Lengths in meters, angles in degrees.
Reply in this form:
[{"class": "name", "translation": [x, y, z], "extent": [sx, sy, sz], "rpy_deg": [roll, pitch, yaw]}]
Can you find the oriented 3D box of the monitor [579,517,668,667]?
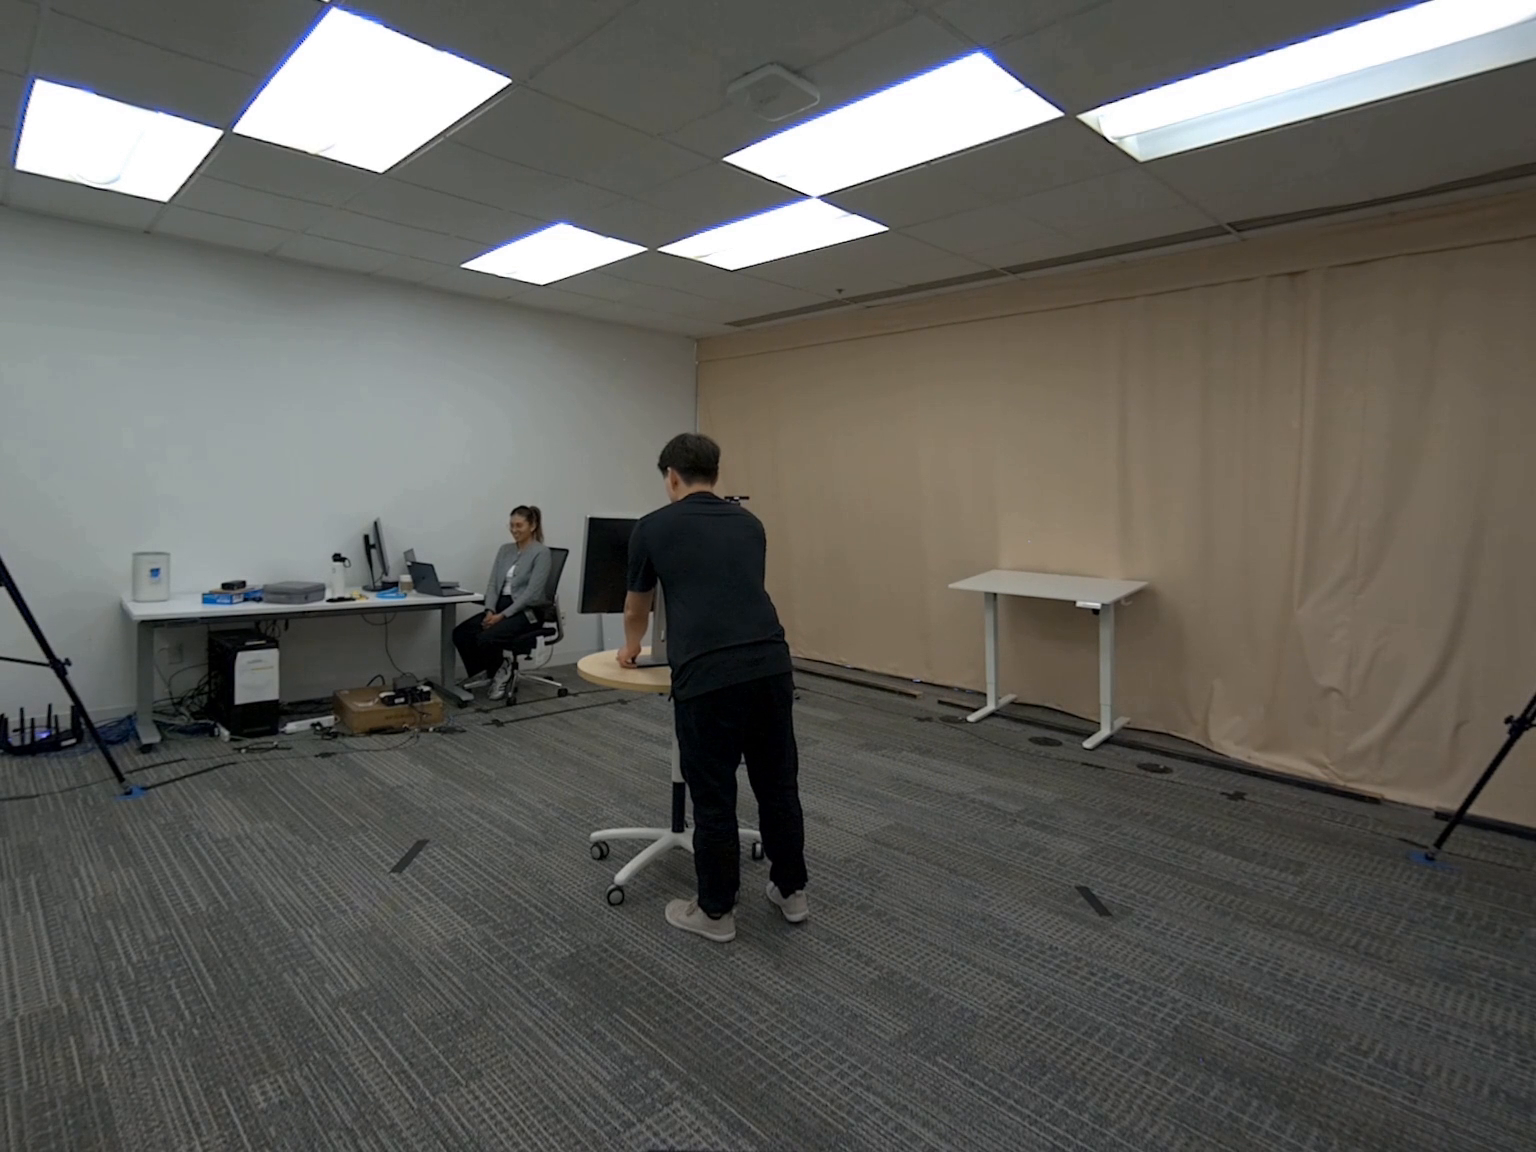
[{"class": "monitor", "translation": [-0.420, 0.056, 3.130], "extent": [0.527, 0.522, 0.191], "rpy_deg": [0, 2, -34]}]
